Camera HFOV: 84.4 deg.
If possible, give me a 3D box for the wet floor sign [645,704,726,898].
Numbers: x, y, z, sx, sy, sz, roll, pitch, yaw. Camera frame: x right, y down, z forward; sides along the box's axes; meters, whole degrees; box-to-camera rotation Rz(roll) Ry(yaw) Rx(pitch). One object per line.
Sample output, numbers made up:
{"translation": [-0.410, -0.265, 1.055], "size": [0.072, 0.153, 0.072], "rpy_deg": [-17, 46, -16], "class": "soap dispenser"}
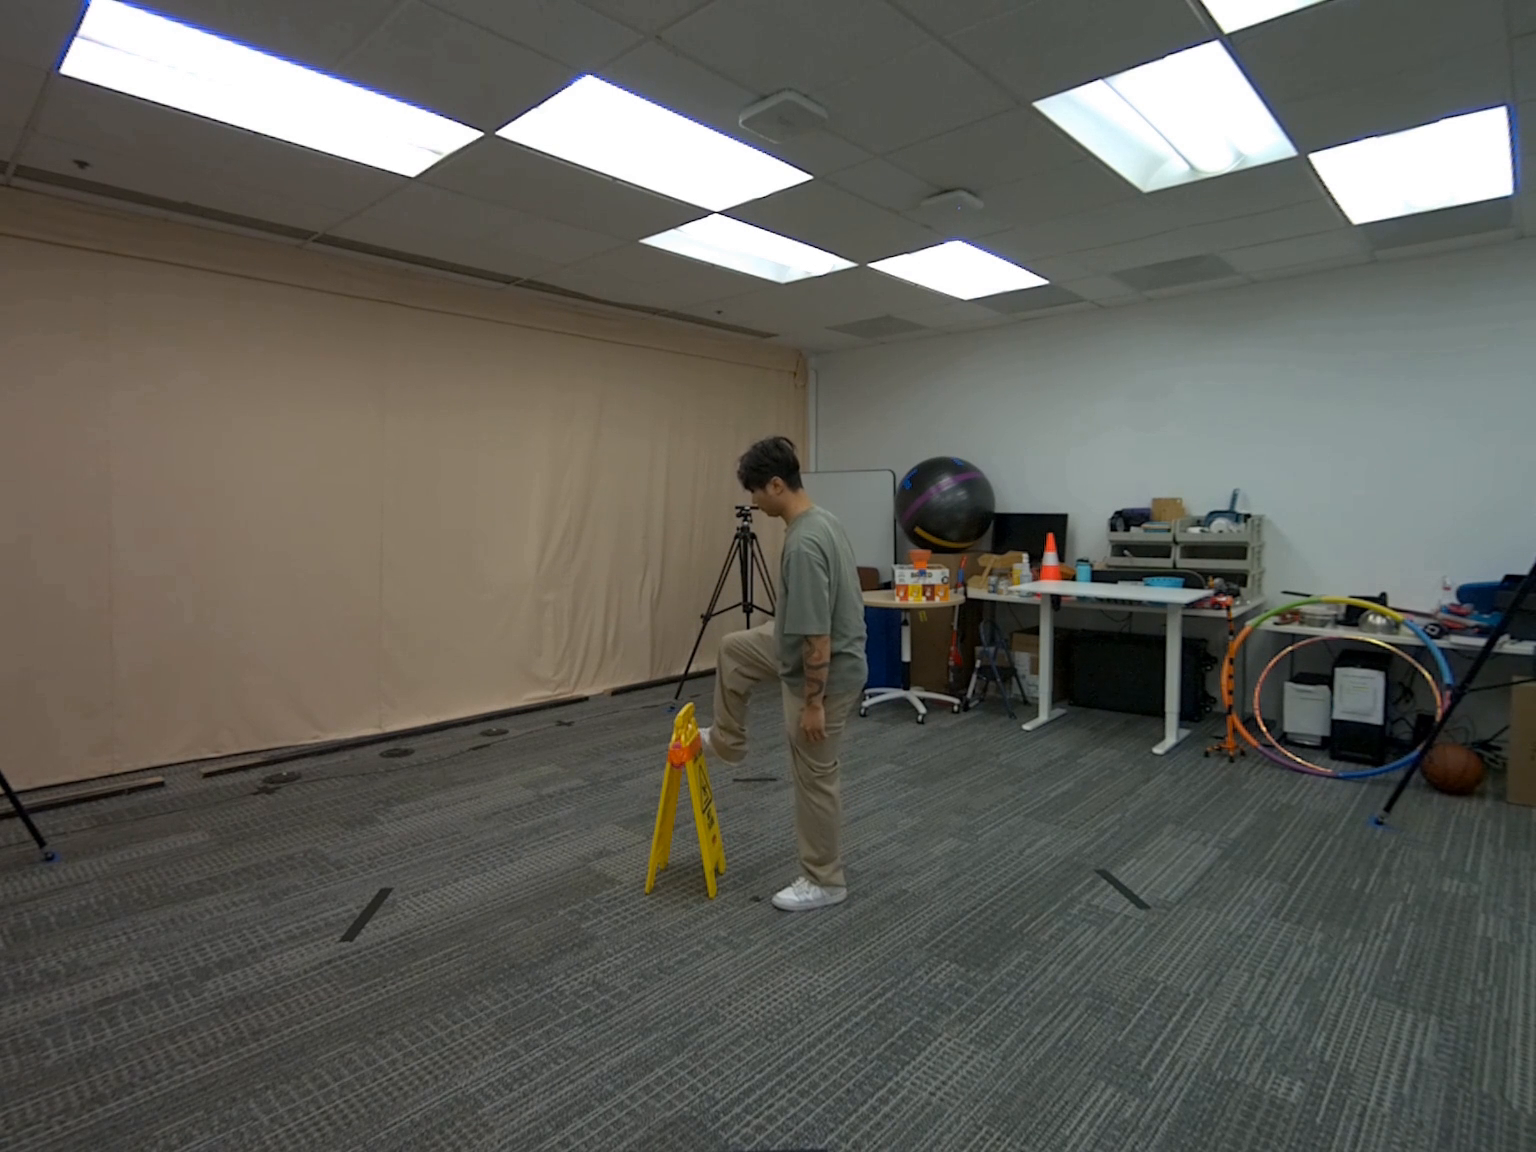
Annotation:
{"translation": [-0.307, 0.812, 3.110], "size": [0.293, 0.645, 0.280], "rpy_deg": [-1, 2, 8], "class": "wet floor sign"}
